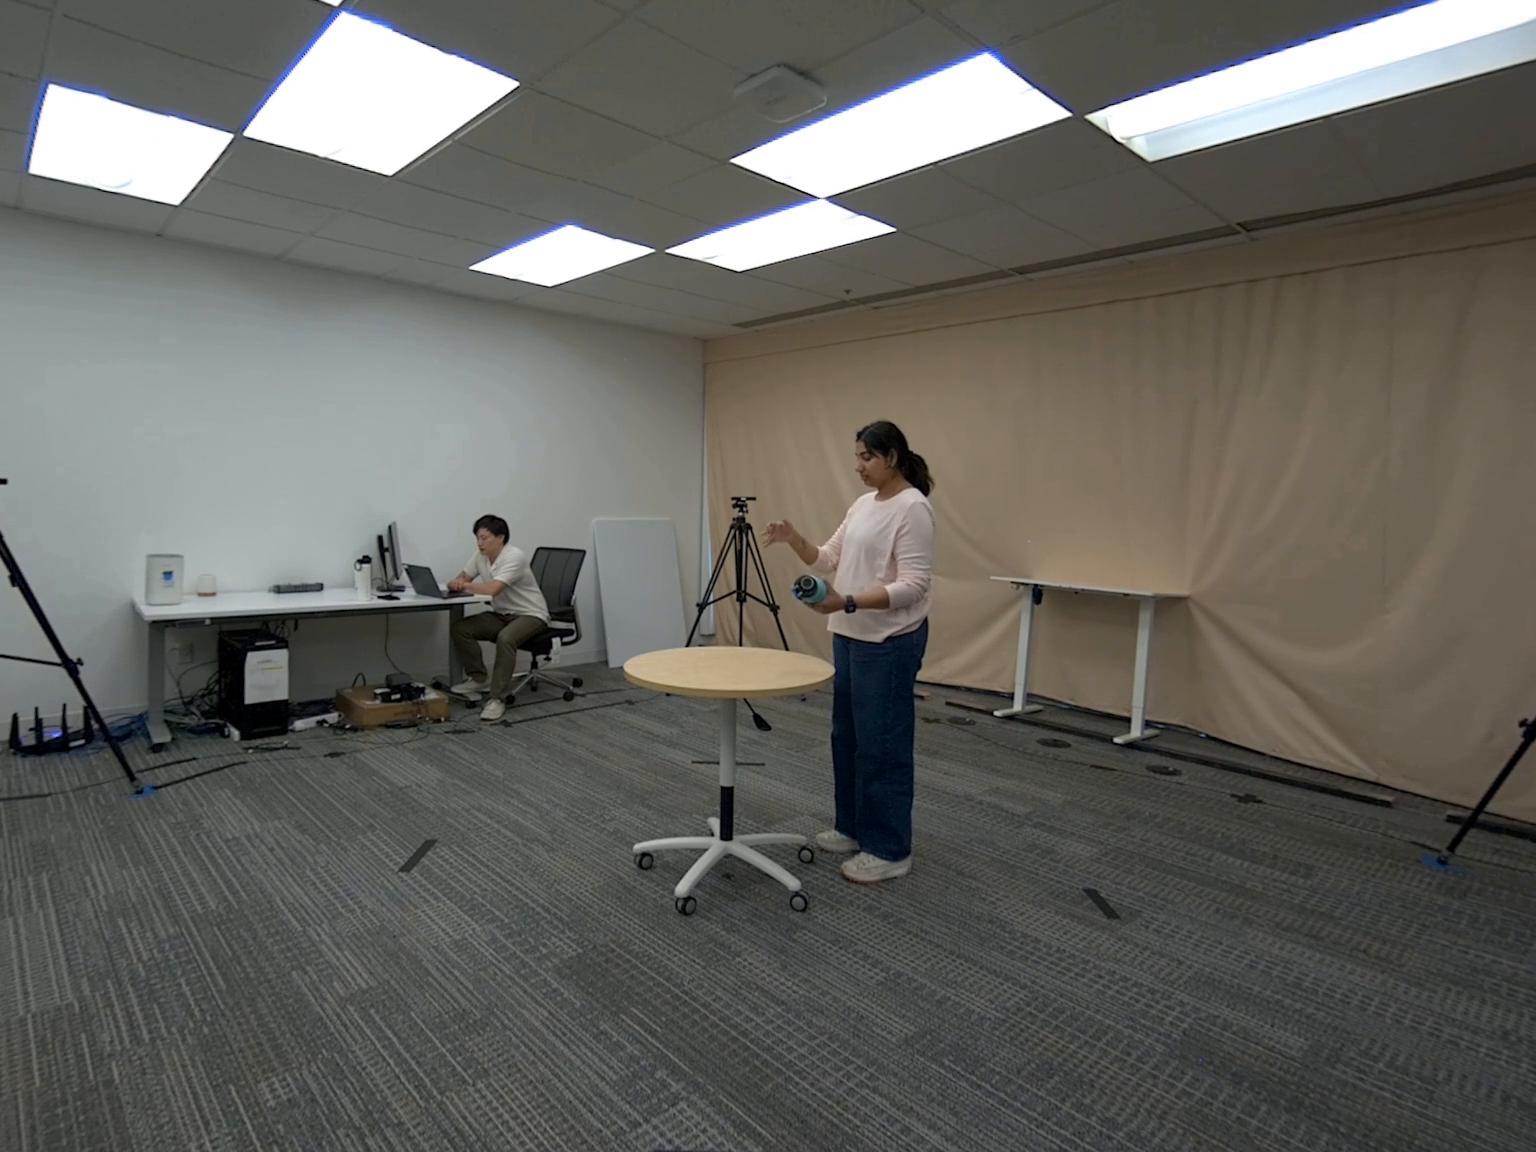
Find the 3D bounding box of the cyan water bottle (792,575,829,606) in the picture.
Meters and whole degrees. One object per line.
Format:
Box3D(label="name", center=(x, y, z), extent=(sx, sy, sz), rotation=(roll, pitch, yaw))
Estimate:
Box3D(label="cyan water bottle", center=(0.148, 0.044, 2.915), extent=(0.094, 0.093, 0.277), rotation=(3, -8, 21))
